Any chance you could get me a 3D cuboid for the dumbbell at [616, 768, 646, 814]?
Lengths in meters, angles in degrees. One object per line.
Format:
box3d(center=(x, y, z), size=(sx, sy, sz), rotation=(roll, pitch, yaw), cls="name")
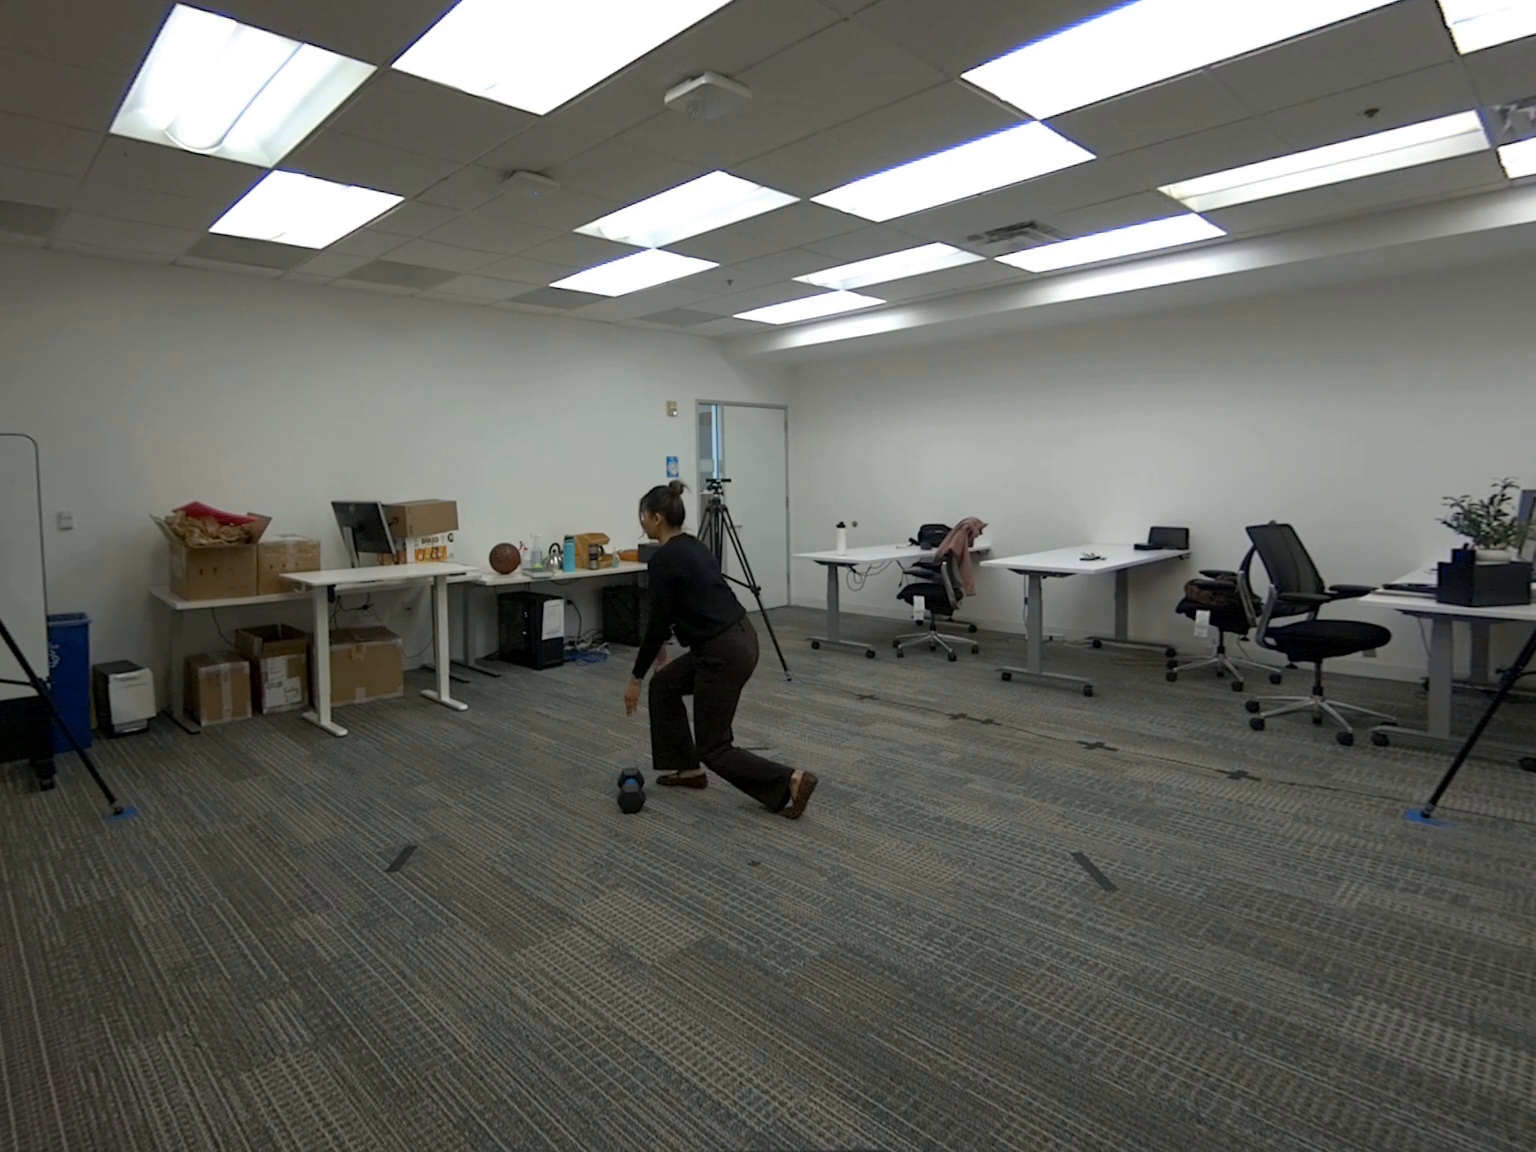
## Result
box3d(center=(-0.596, 0.935, 3.730), size=(0.108, 0.122, 0.297), rotation=(-29, 9, -5), cls="dumbbell")
